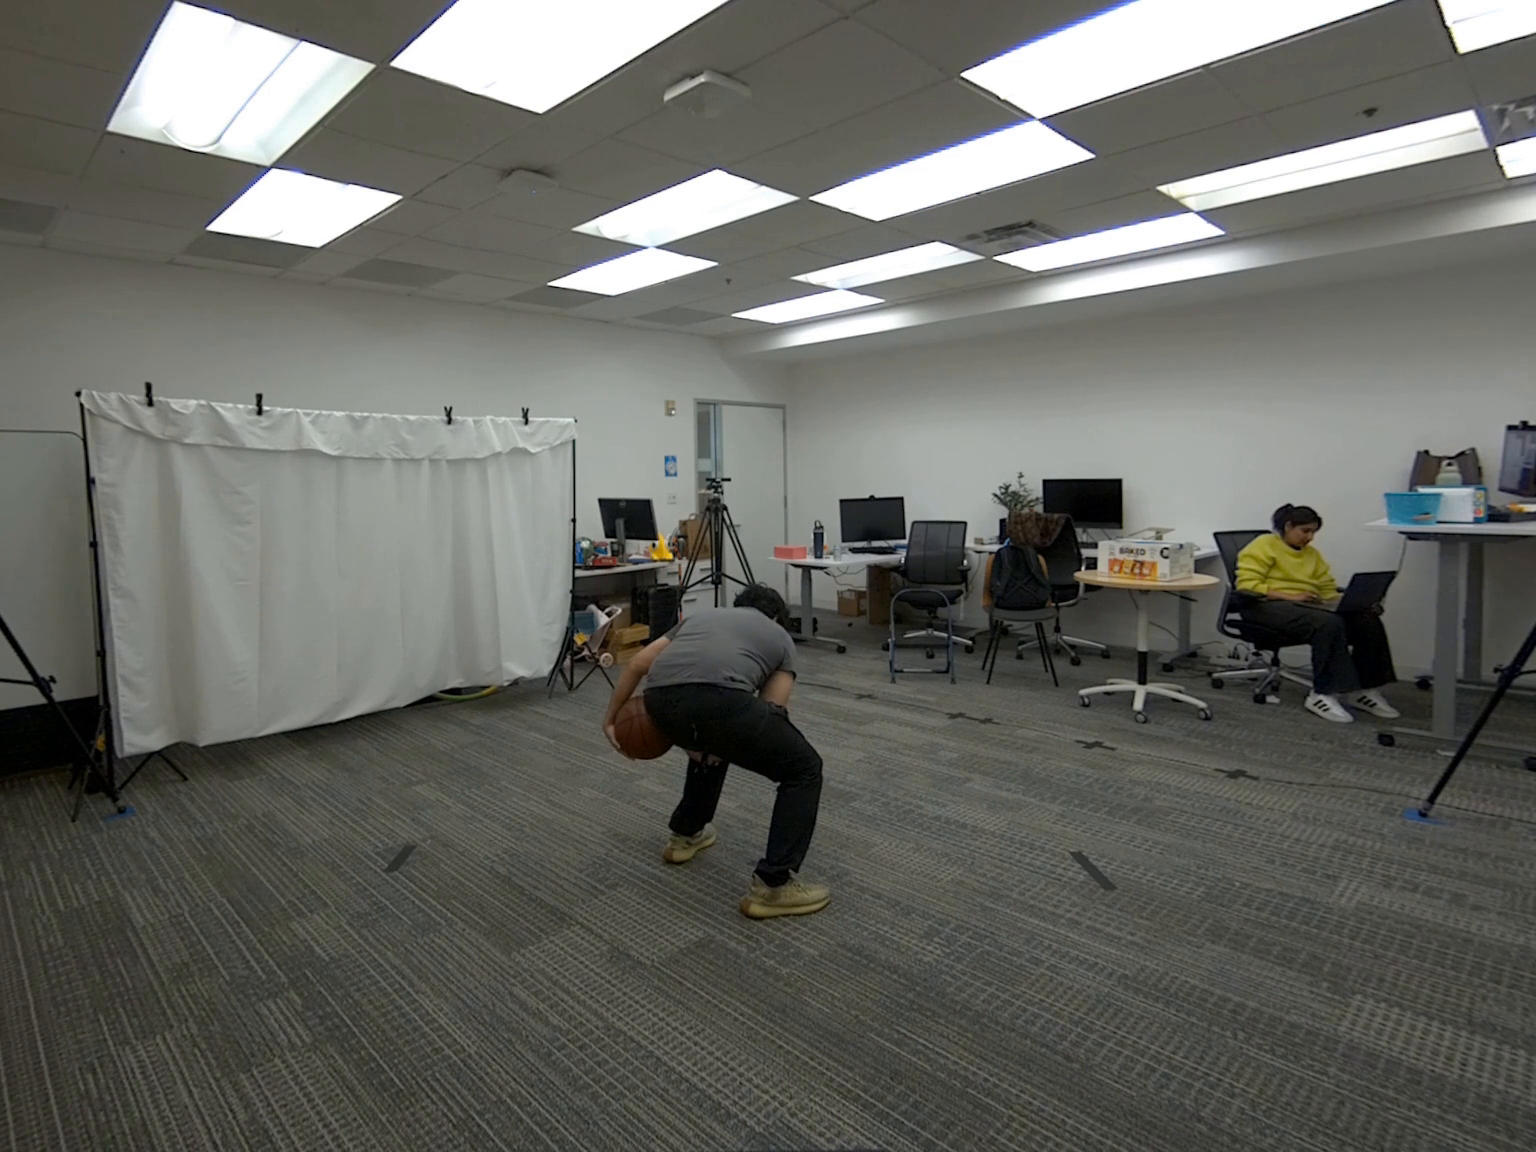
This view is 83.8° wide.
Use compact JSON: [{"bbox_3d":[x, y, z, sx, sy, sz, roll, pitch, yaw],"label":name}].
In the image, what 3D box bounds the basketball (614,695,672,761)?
[{"bbox_3d":[-0.443,0.559,3.168,0.236,0.235,0.237,-1,5,-2],"label":"basketball"}]
